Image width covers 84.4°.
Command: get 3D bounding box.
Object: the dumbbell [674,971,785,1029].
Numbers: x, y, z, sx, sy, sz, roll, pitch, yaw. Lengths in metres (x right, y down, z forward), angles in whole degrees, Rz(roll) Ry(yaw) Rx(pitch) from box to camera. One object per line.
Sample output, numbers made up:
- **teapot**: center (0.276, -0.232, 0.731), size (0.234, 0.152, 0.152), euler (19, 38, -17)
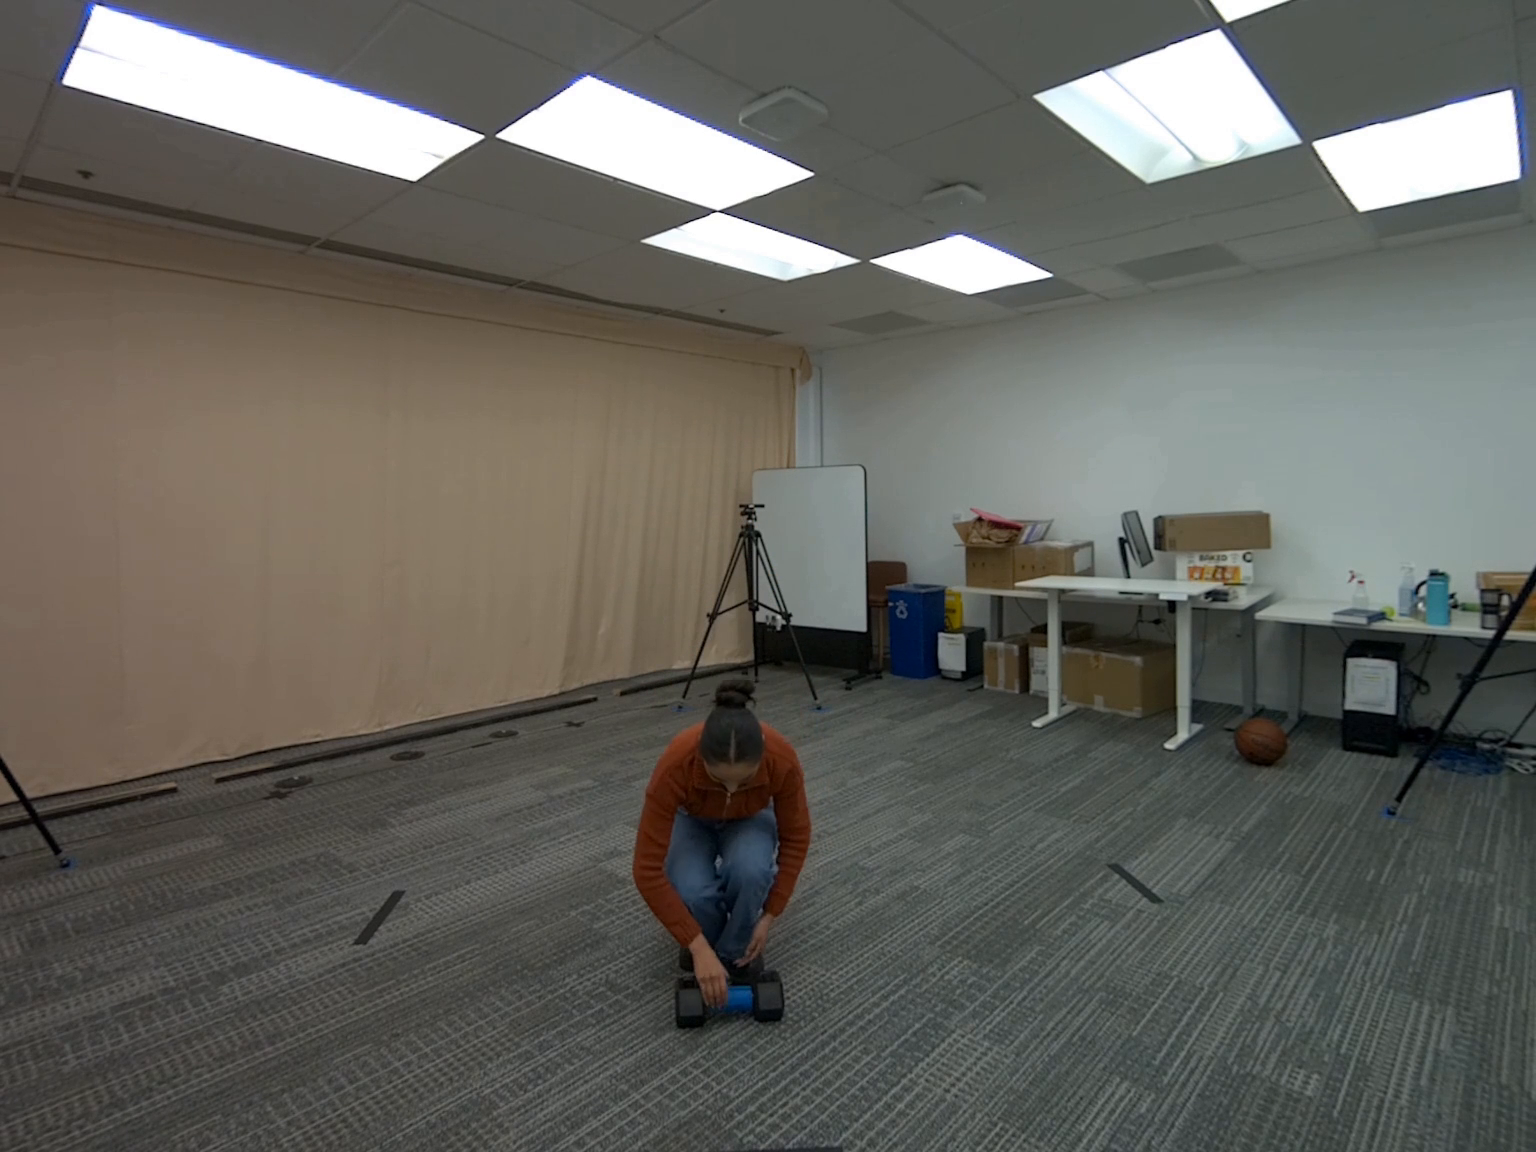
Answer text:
- **dumbbell**: center (-0.107, 1.141, 2.287), size (0.292, 0.125, 0.107), euler (-2, -27, -5)
